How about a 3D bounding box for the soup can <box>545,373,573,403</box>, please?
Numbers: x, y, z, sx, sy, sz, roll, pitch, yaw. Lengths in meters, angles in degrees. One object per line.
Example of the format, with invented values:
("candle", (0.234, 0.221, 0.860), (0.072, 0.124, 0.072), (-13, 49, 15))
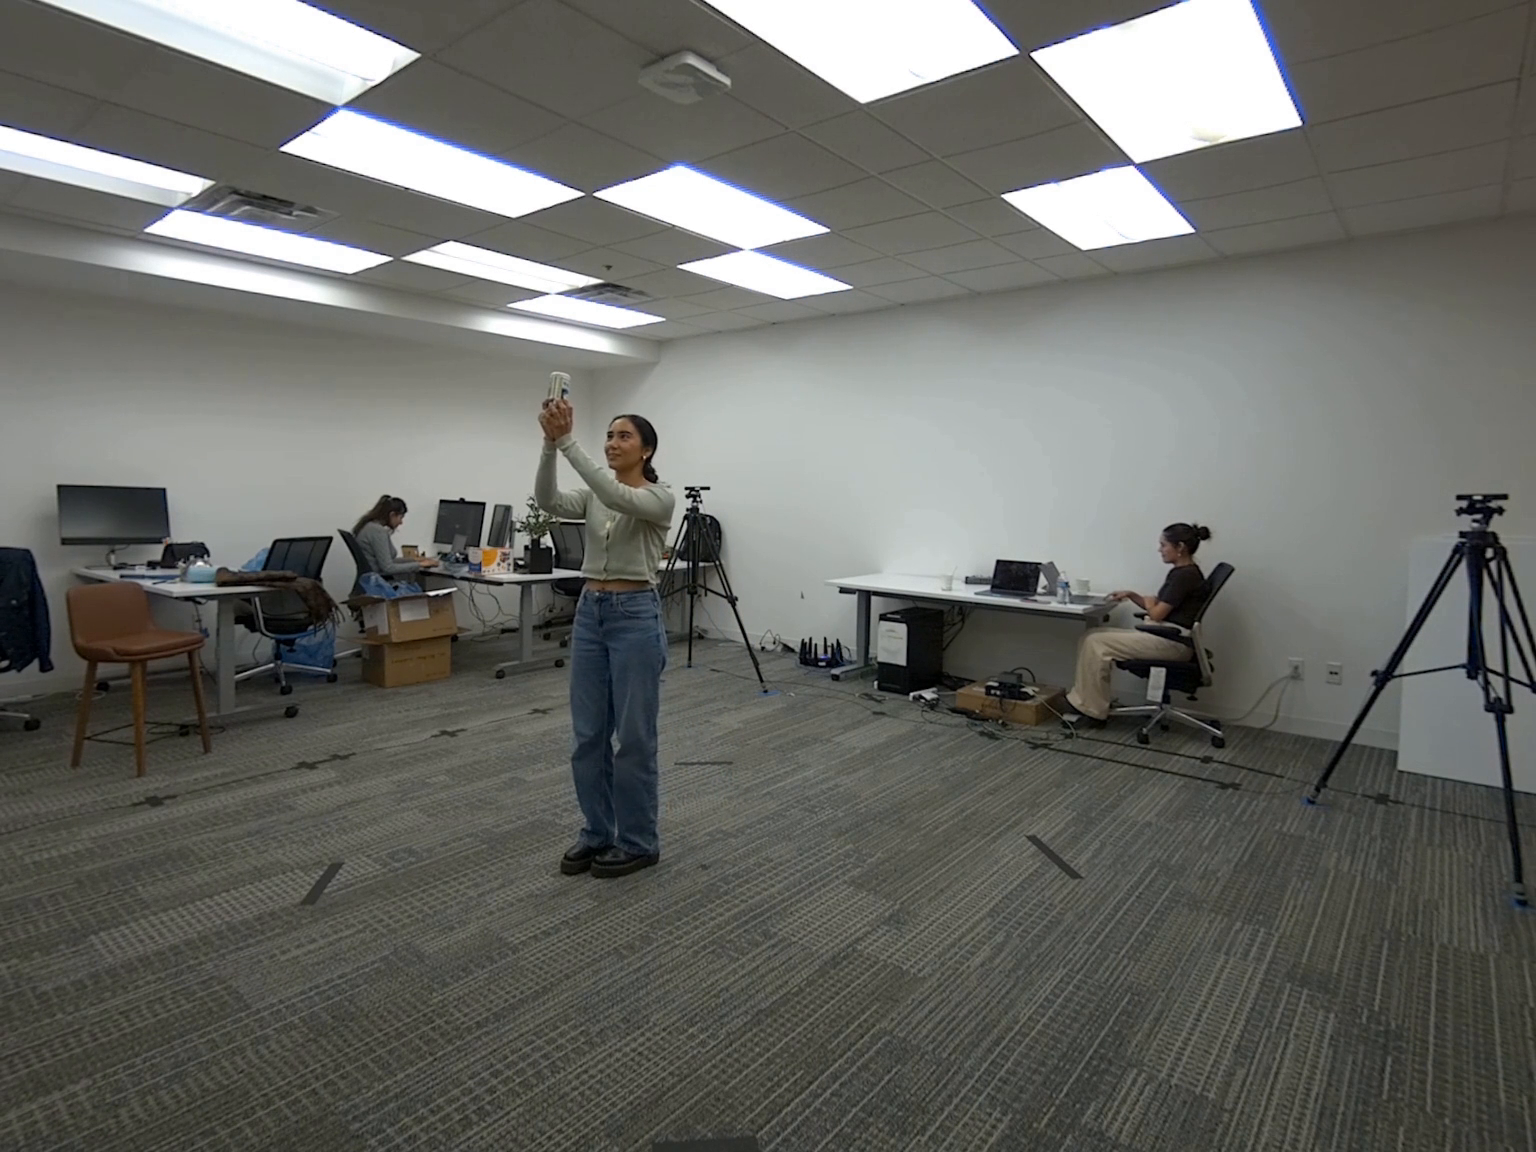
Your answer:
("soup can", (-0.706, -0.612, 2.826), (0.067, 0.122, 0.067), (5, -8, -1))
